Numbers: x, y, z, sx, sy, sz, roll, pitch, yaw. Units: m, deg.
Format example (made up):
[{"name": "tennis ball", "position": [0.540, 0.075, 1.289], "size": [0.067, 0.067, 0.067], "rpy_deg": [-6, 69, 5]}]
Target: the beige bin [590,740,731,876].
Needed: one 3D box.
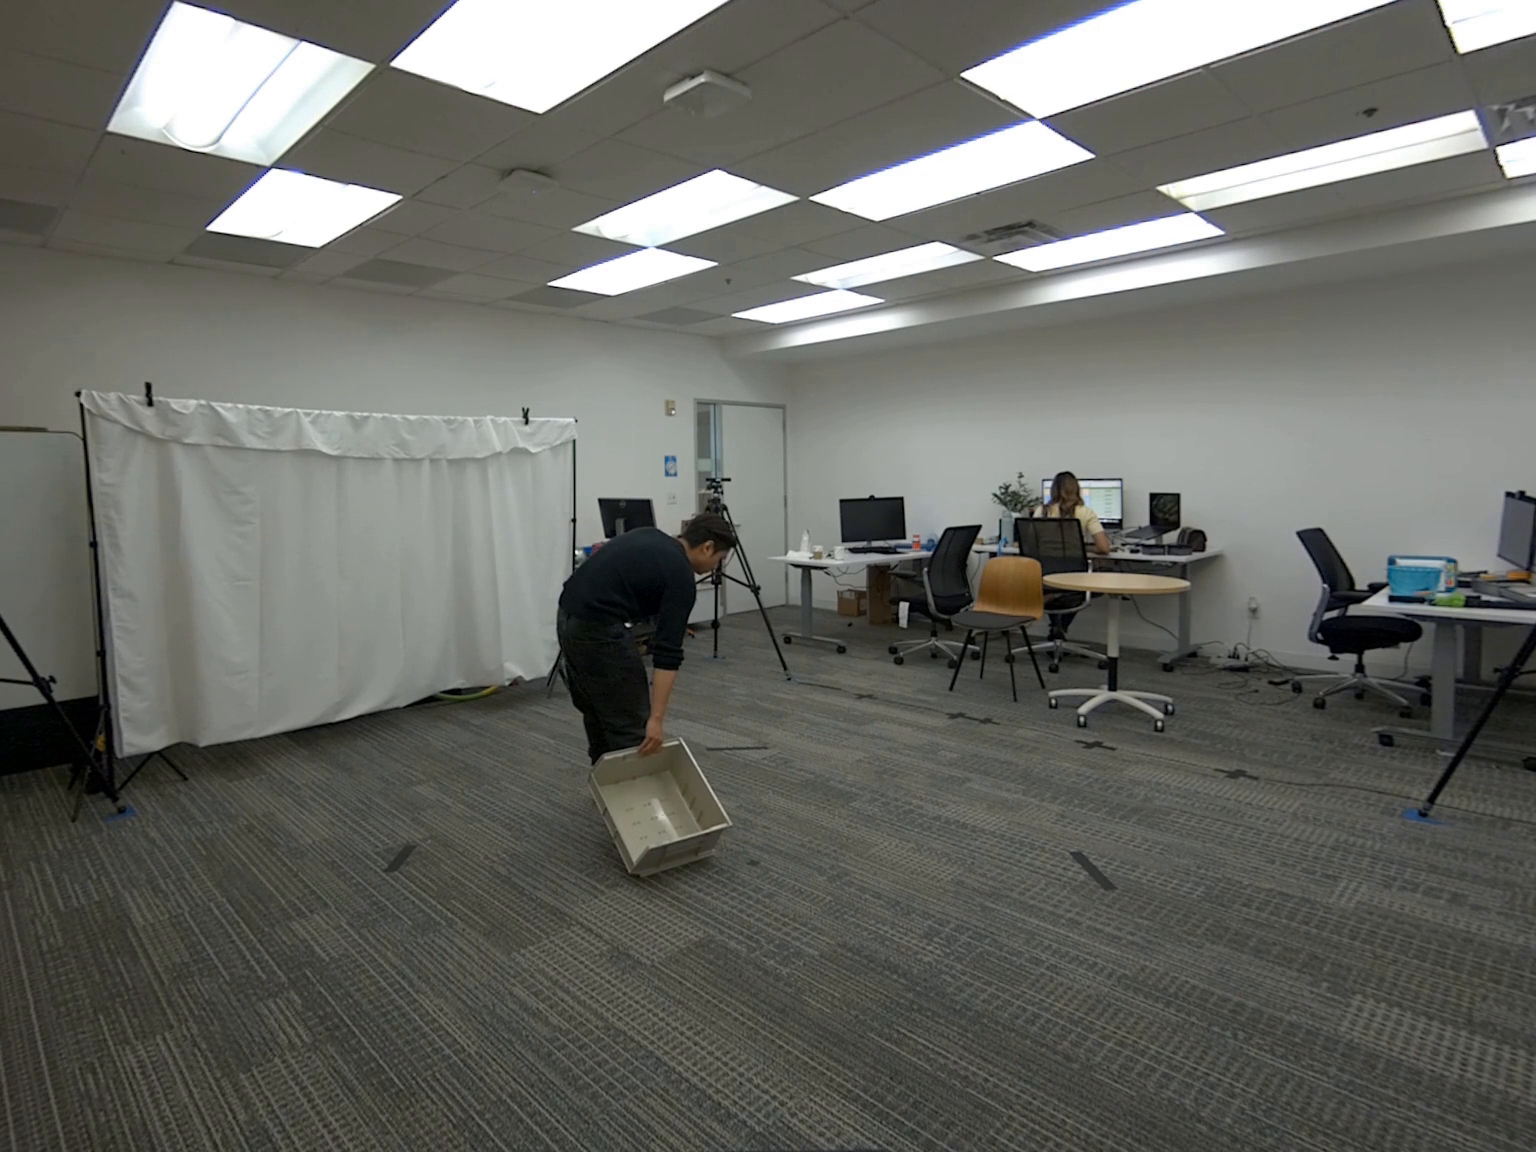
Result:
[{"name": "beige bin", "position": [-0.415, 0.853, 3.162], "size": [0.368, 0.186, 0.439], "rpy_deg": [-4, 39, -35]}]
